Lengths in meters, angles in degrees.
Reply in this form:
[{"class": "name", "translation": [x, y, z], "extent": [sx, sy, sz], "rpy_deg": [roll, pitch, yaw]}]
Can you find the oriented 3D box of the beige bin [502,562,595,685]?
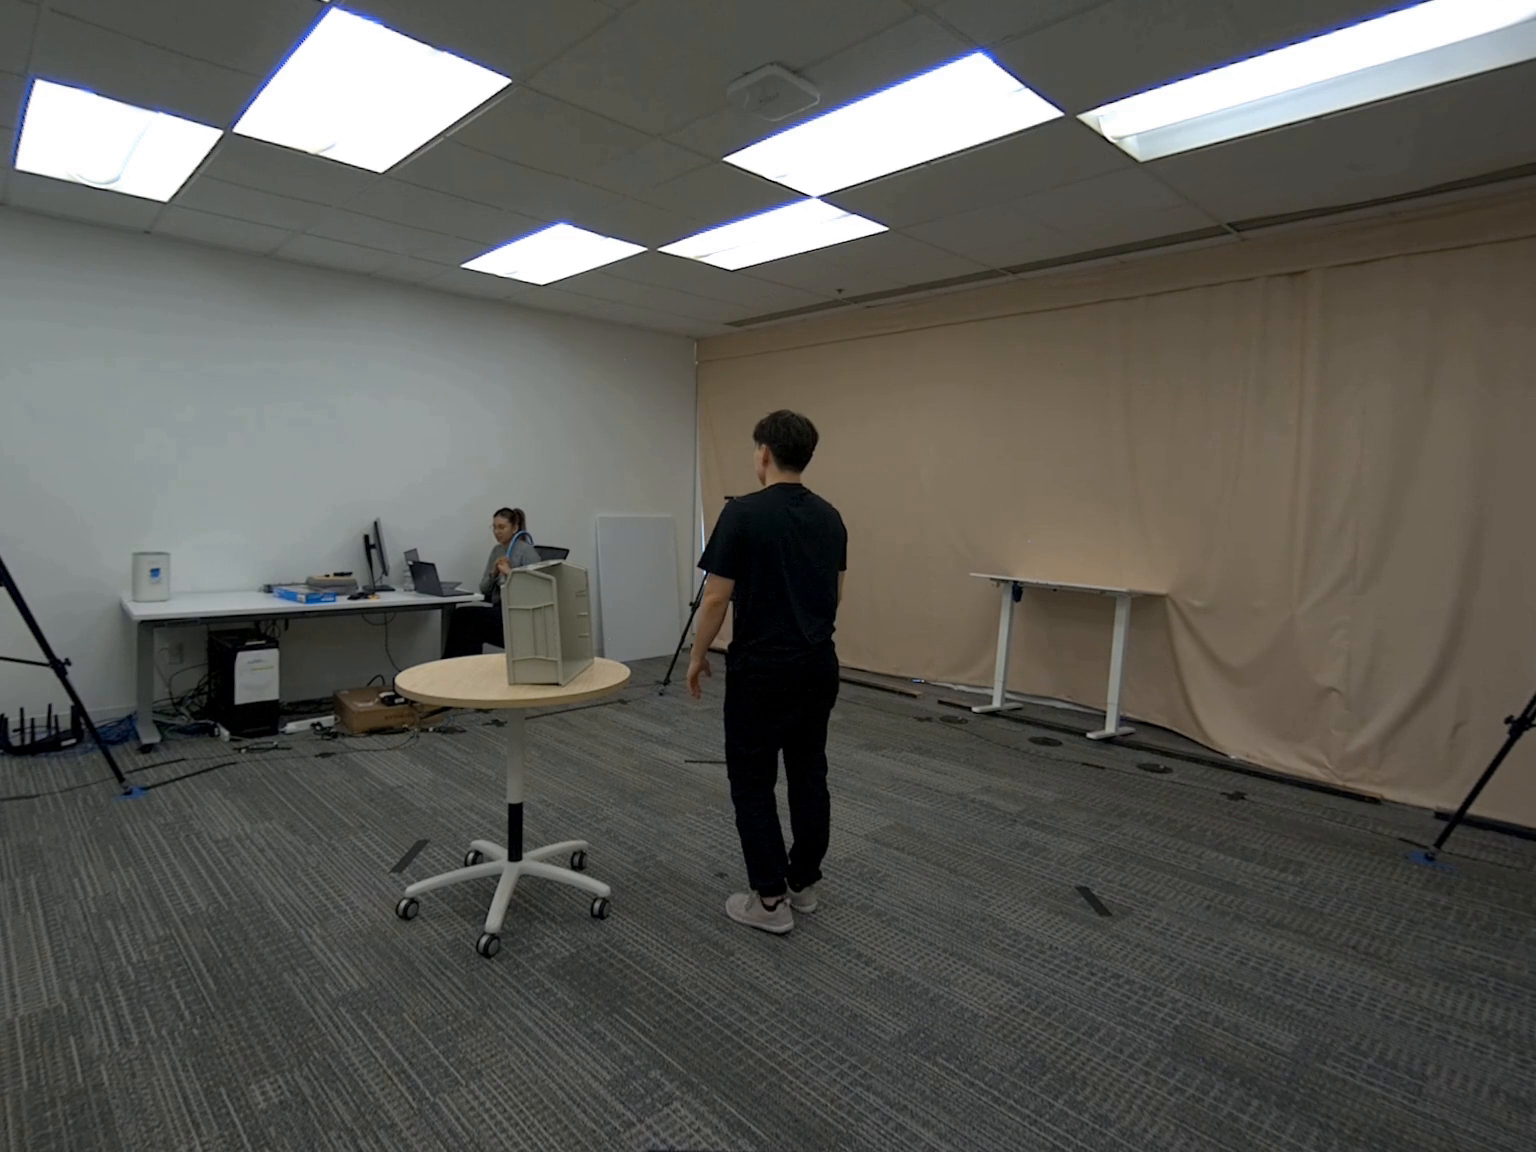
[{"class": "beige bin", "translation": [-0.742, 0.147, 2.846], "extent": [0.189, 0.376, 0.423], "rpy_deg": [-2, 4, 1]}]
